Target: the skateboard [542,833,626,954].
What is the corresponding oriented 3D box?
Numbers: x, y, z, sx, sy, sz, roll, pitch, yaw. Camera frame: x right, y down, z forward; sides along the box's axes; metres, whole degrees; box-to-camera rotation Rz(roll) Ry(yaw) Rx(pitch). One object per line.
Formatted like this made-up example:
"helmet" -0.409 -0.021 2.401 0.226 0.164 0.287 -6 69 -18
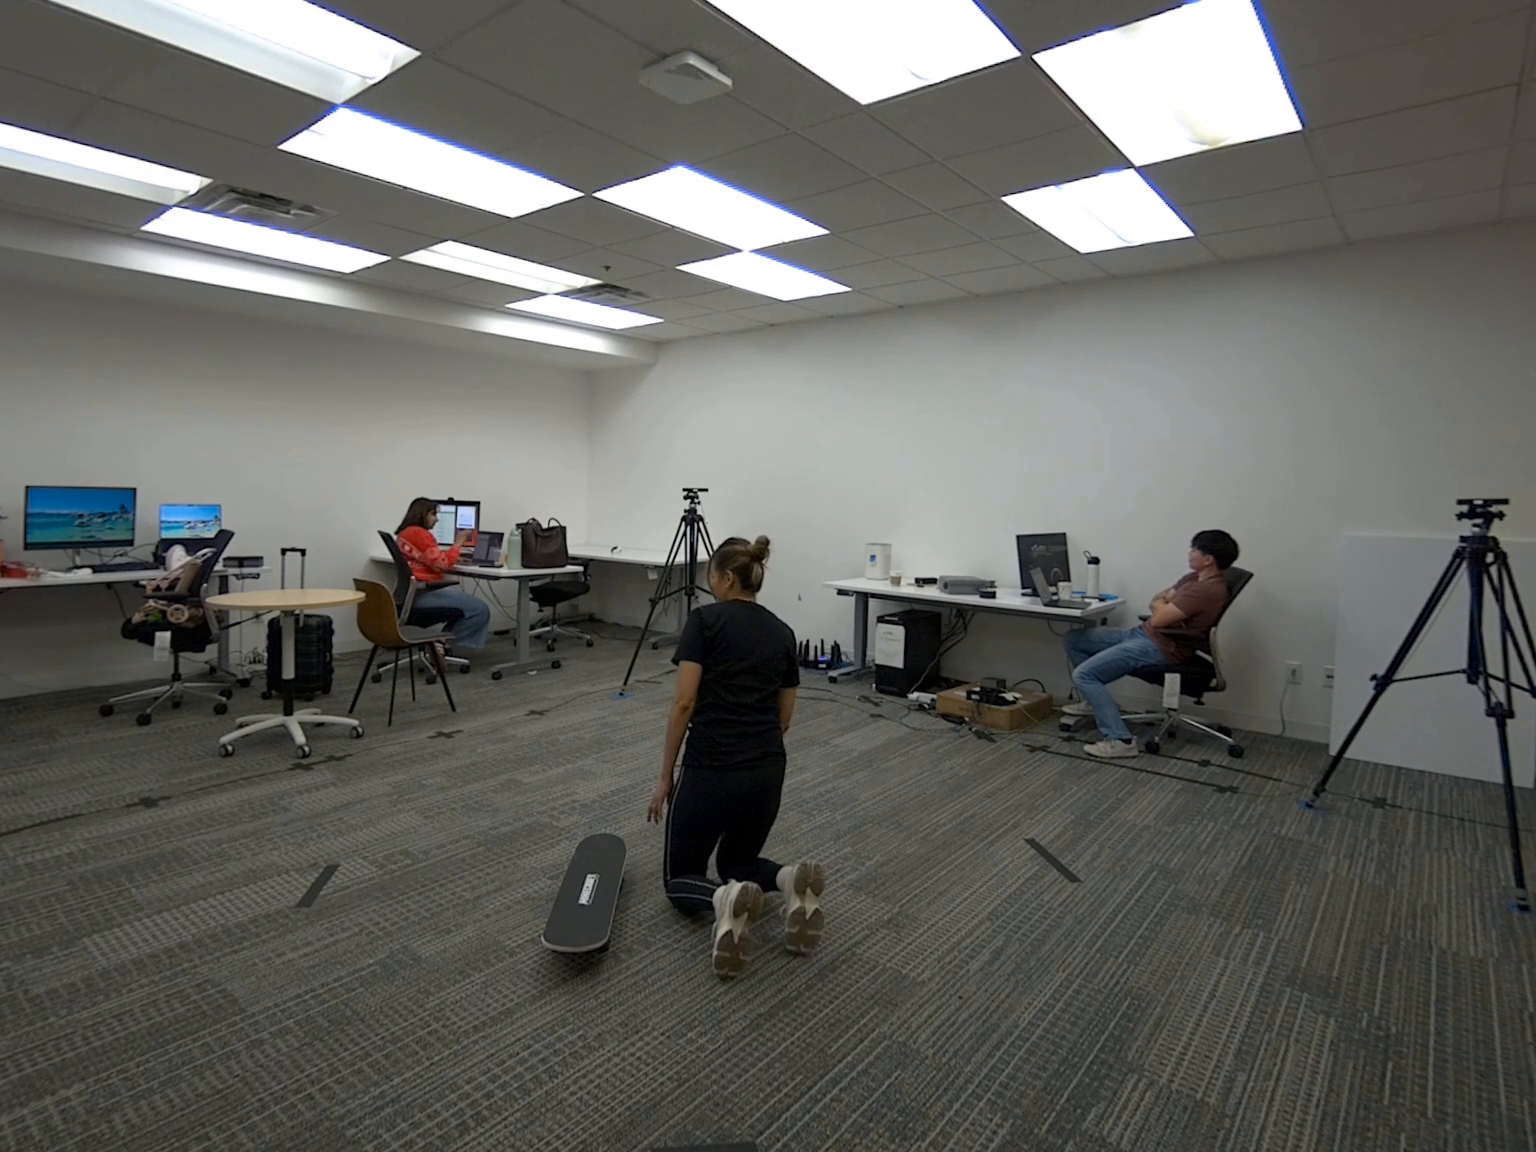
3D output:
"skateboard" -0.583 1.035 2.761 0.193 0.110 0.790 1 5 -4
